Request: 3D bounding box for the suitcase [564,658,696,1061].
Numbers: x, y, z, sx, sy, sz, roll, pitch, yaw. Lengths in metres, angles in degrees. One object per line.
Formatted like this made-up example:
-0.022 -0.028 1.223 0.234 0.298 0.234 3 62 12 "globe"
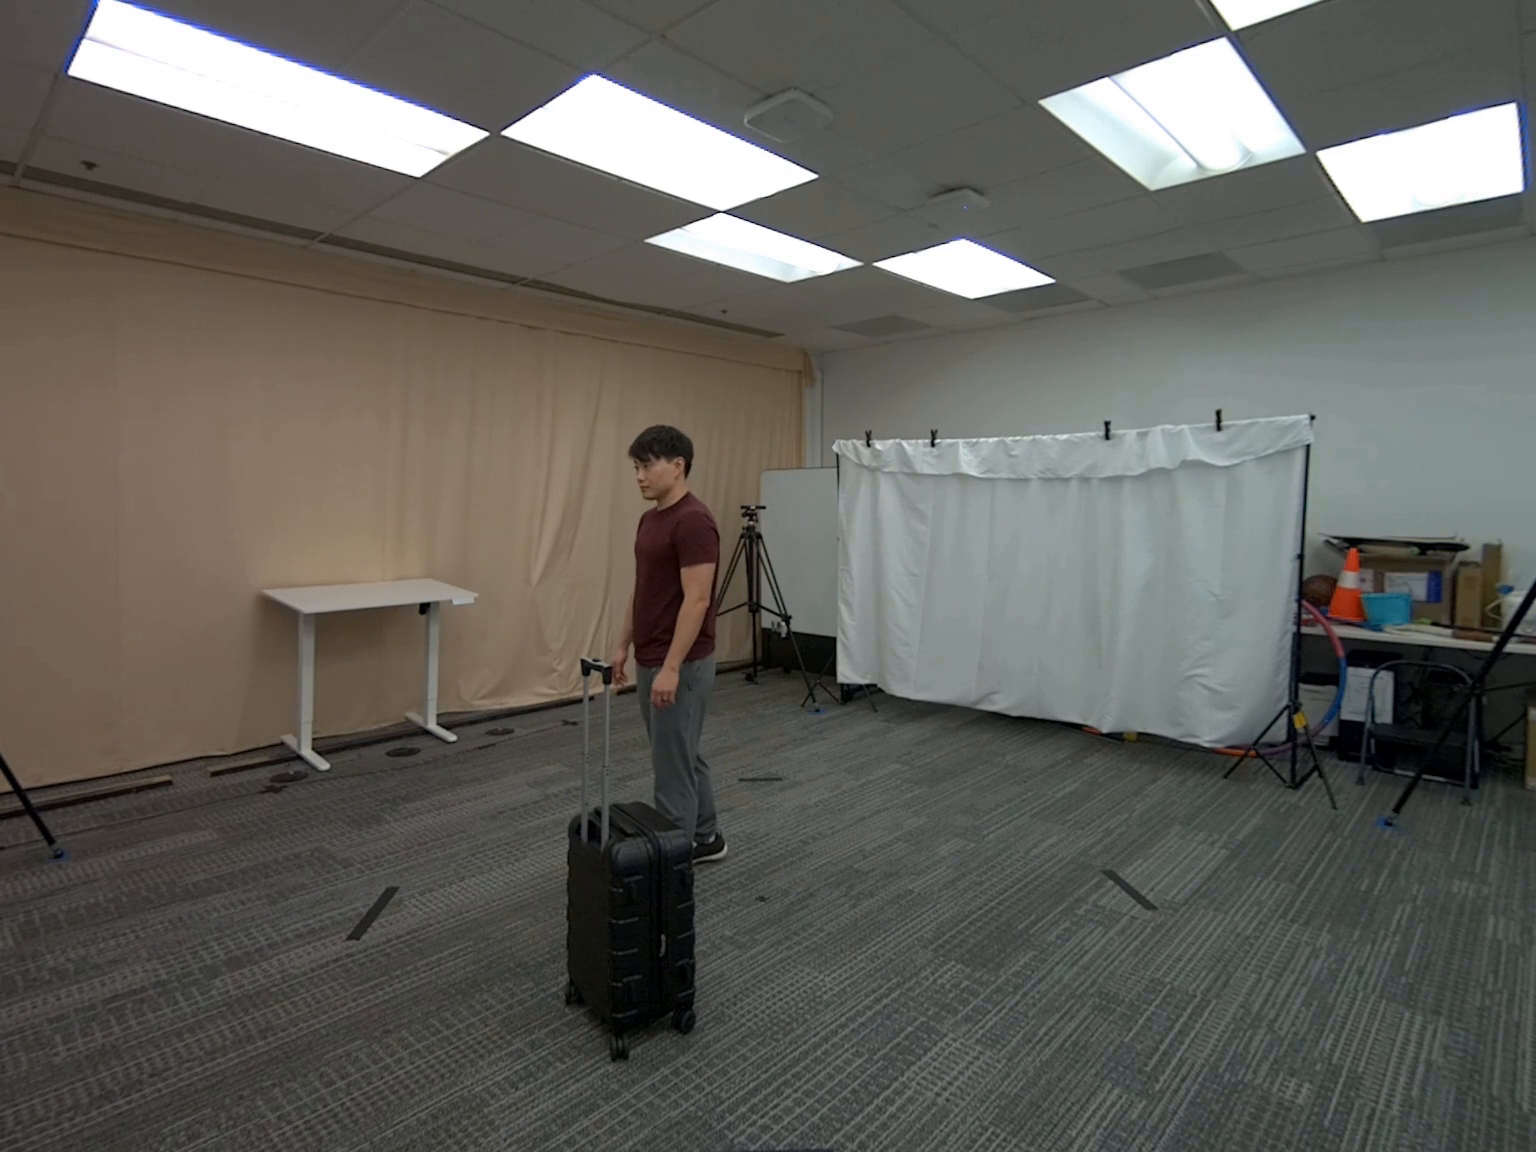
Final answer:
-0.376 0.725 2.305 0.250 0.978 0.395 1 2 -32 "suitcase"
